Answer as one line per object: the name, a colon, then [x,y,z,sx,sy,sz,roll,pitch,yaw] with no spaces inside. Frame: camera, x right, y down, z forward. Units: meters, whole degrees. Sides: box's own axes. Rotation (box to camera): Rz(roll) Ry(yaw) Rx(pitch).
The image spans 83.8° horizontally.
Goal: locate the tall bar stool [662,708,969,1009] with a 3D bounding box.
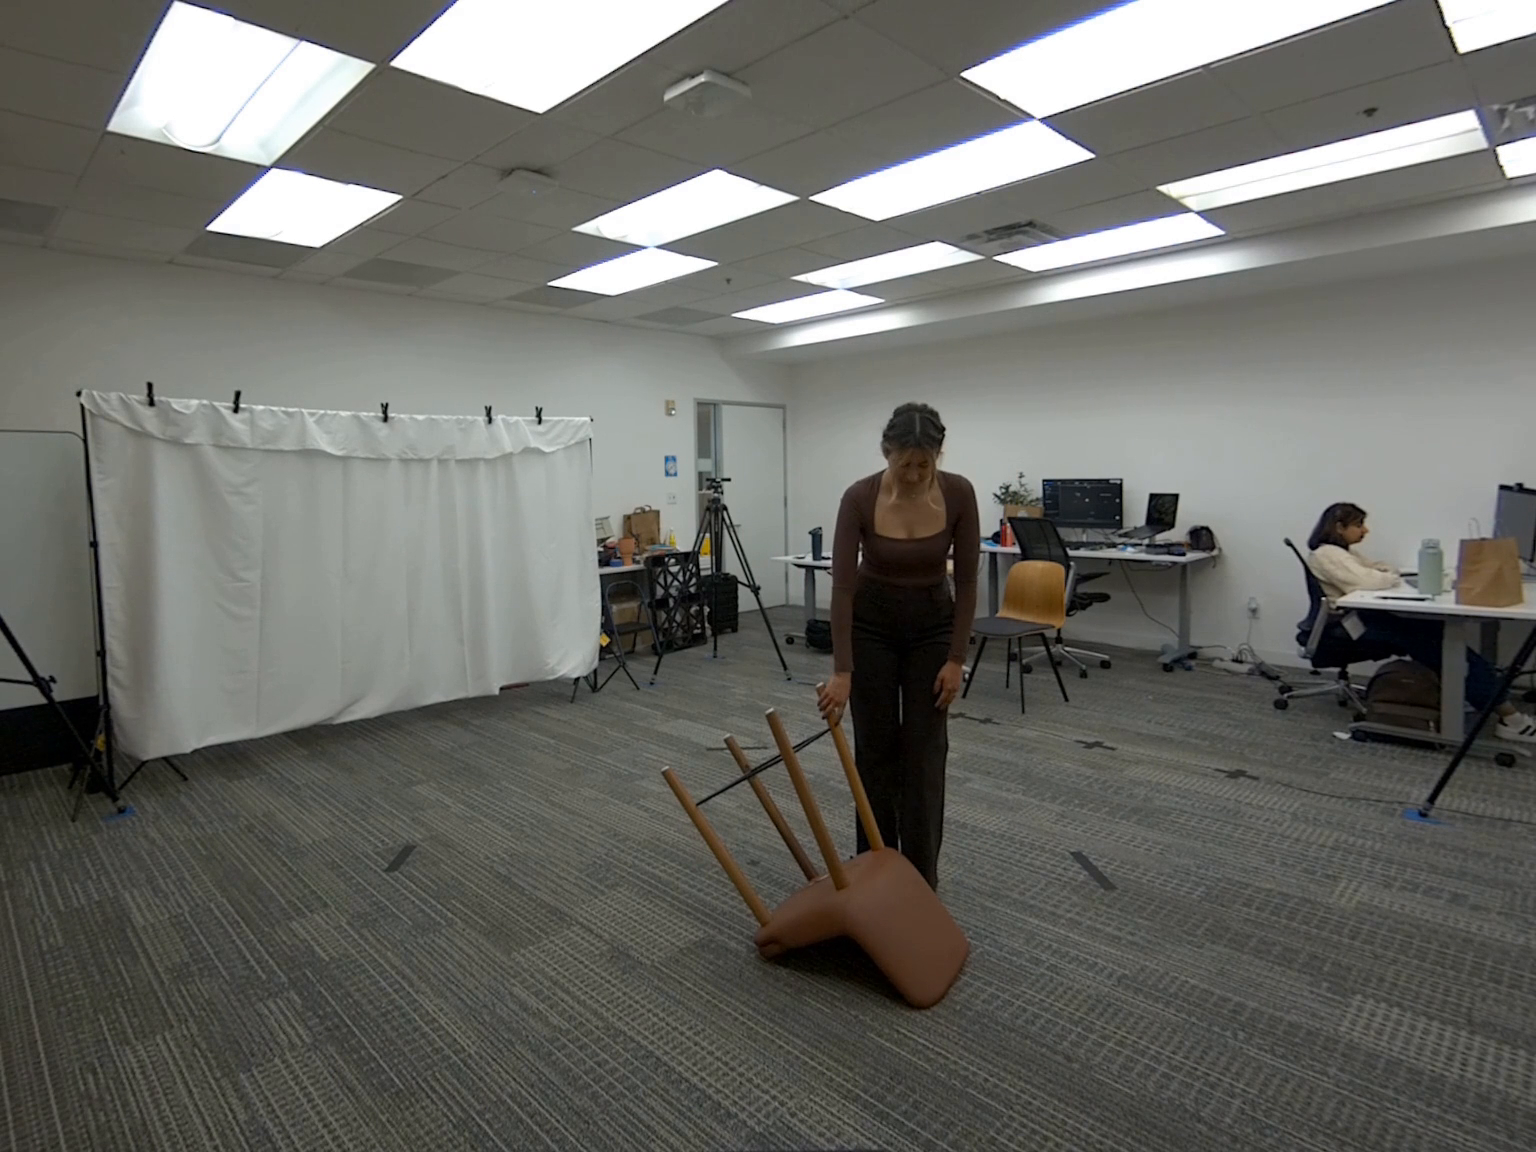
tall bar stool: [0.146,0.851,2.586,0.470,0.905,0.446,-37,-14,27]
